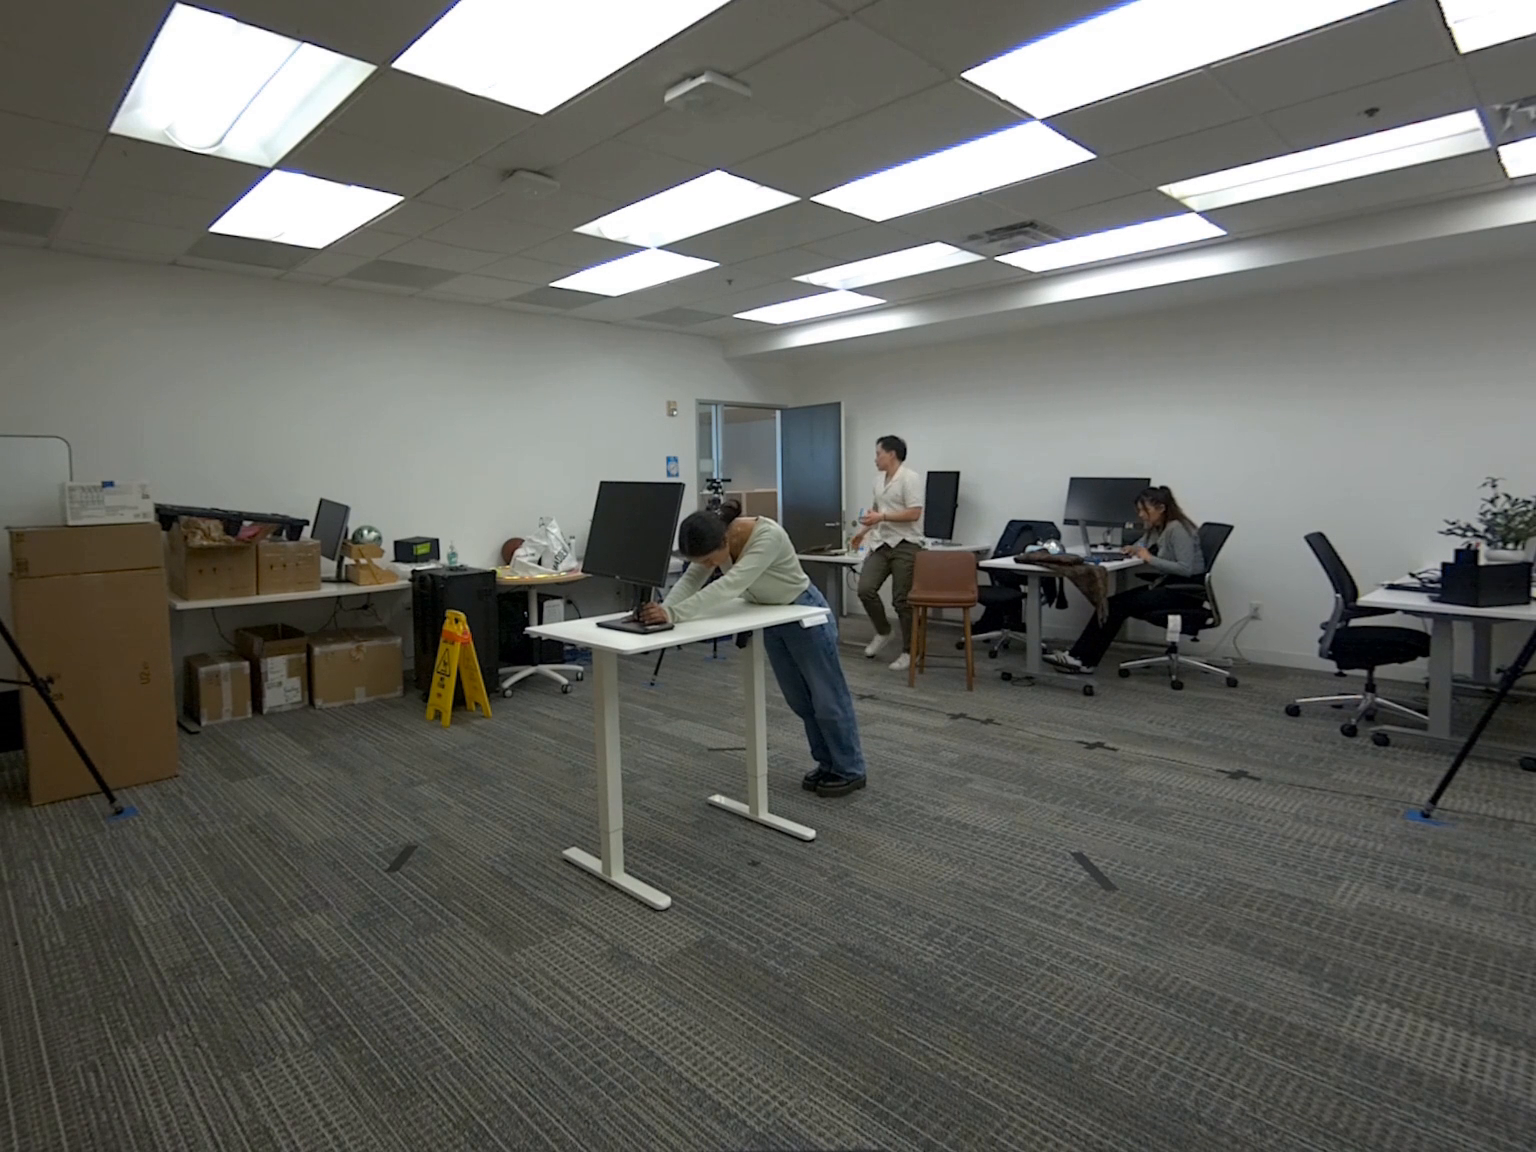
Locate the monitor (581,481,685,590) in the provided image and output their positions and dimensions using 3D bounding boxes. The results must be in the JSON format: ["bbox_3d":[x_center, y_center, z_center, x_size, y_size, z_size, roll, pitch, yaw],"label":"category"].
[{"bbox_3d":[-0.462,-0.071,3.006,0.182,0.521,0.556,-1,5,-42],"label":"monitor"}]
